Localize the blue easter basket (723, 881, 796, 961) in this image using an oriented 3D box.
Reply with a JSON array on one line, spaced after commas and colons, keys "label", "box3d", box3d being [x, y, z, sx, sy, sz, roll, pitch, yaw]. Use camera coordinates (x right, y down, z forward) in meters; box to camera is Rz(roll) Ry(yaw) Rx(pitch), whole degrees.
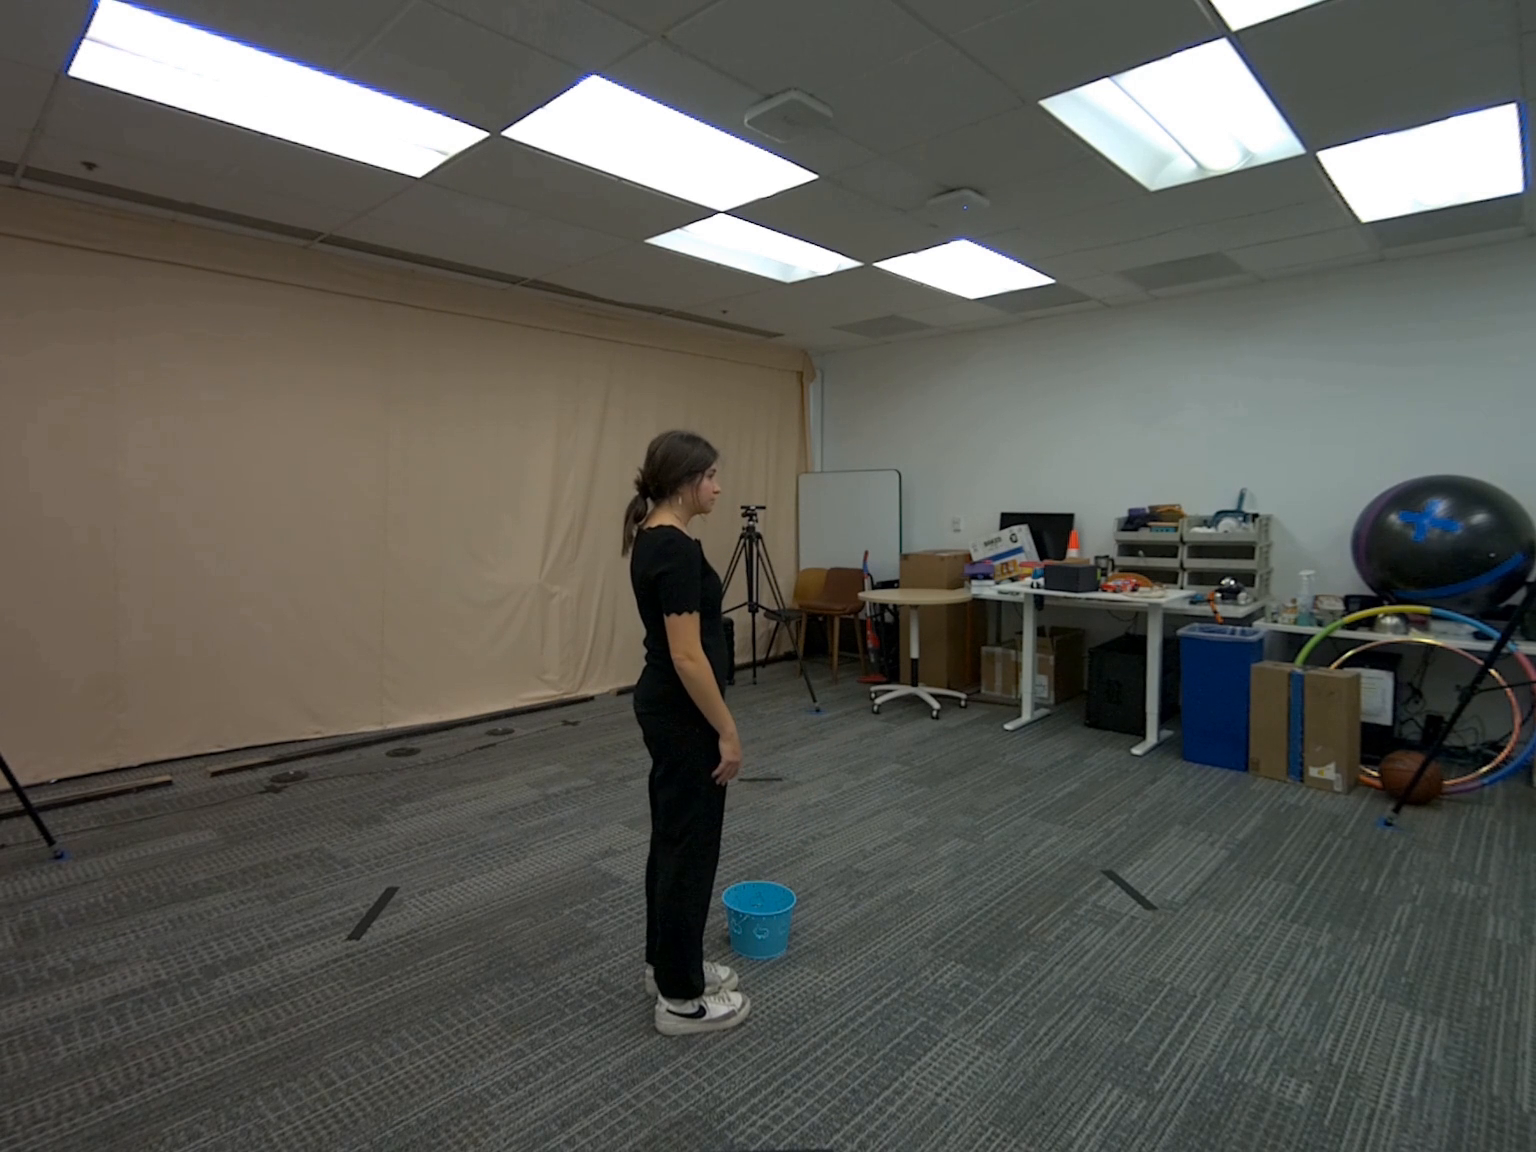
[{"label": "blue easter basket", "box3d": [-0.027, 1.091, 2.675, 0.243, 0.155, 0.244, 0, 4, -2]}]
